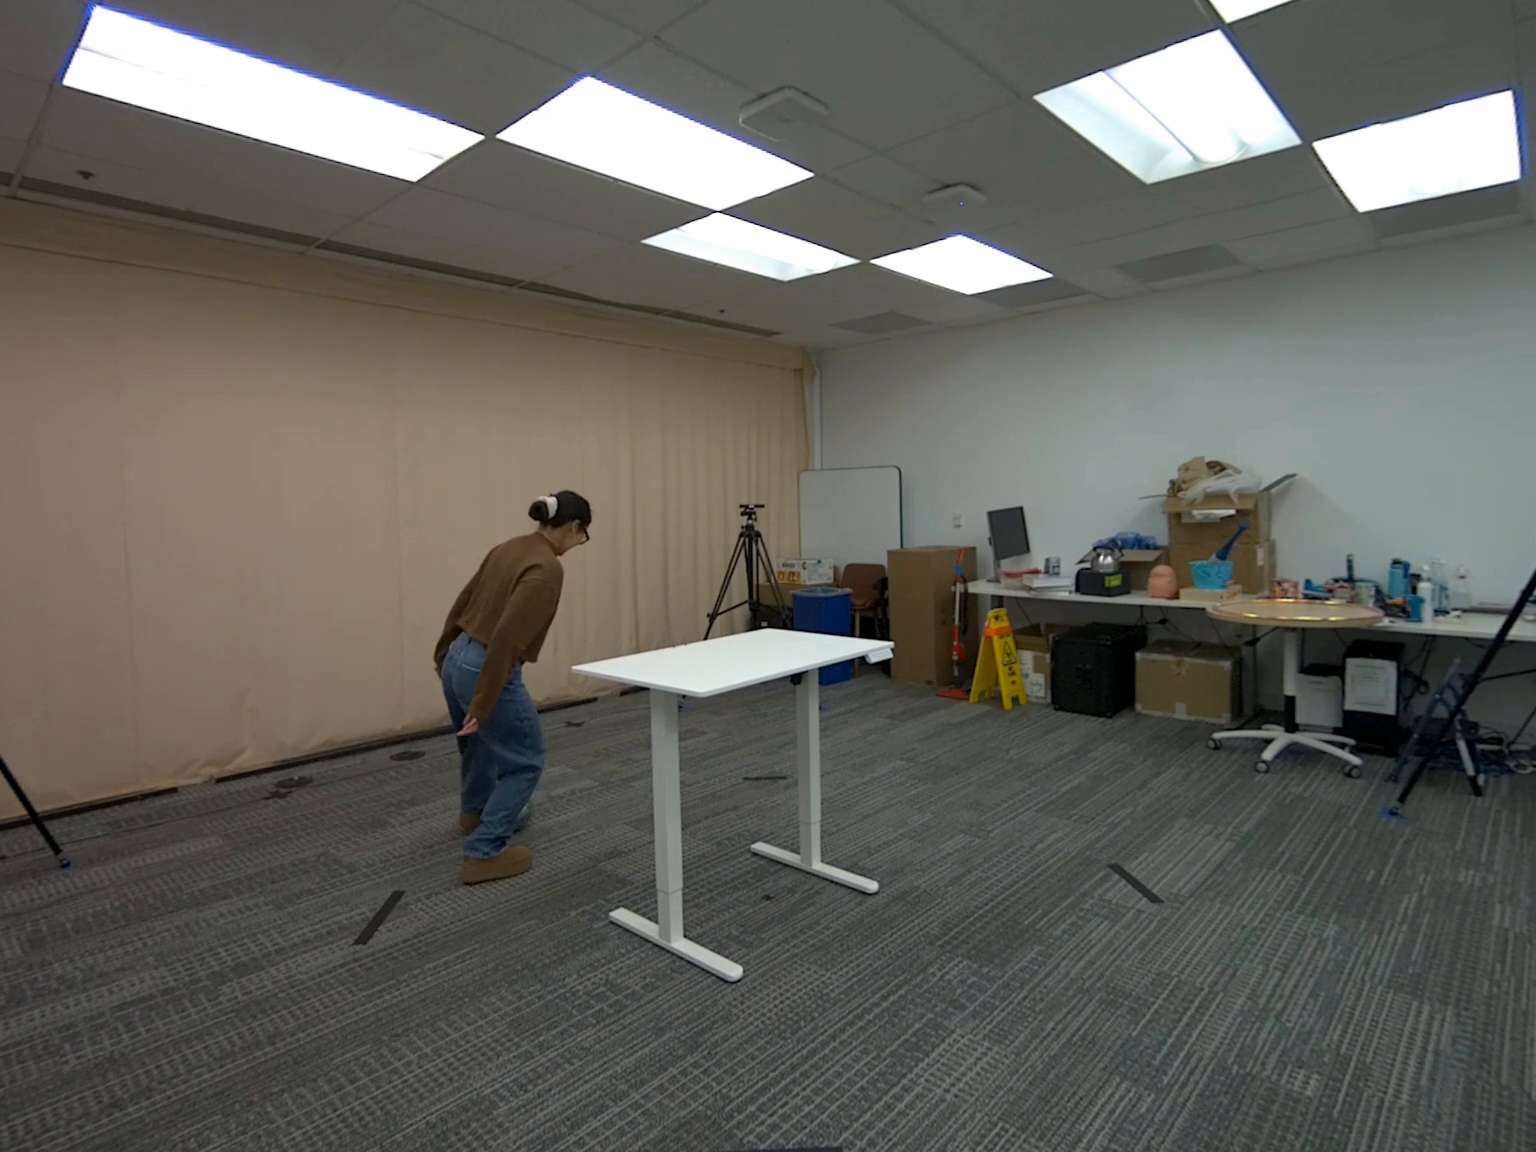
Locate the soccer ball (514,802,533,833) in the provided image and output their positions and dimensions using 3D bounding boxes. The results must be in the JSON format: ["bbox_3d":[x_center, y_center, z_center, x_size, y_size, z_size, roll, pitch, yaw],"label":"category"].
[{"bbox_3d":[-1.077,1.017,3.628,0.187,0.187,0.188,-1,4,-2],"label":"soccer ball"}]
